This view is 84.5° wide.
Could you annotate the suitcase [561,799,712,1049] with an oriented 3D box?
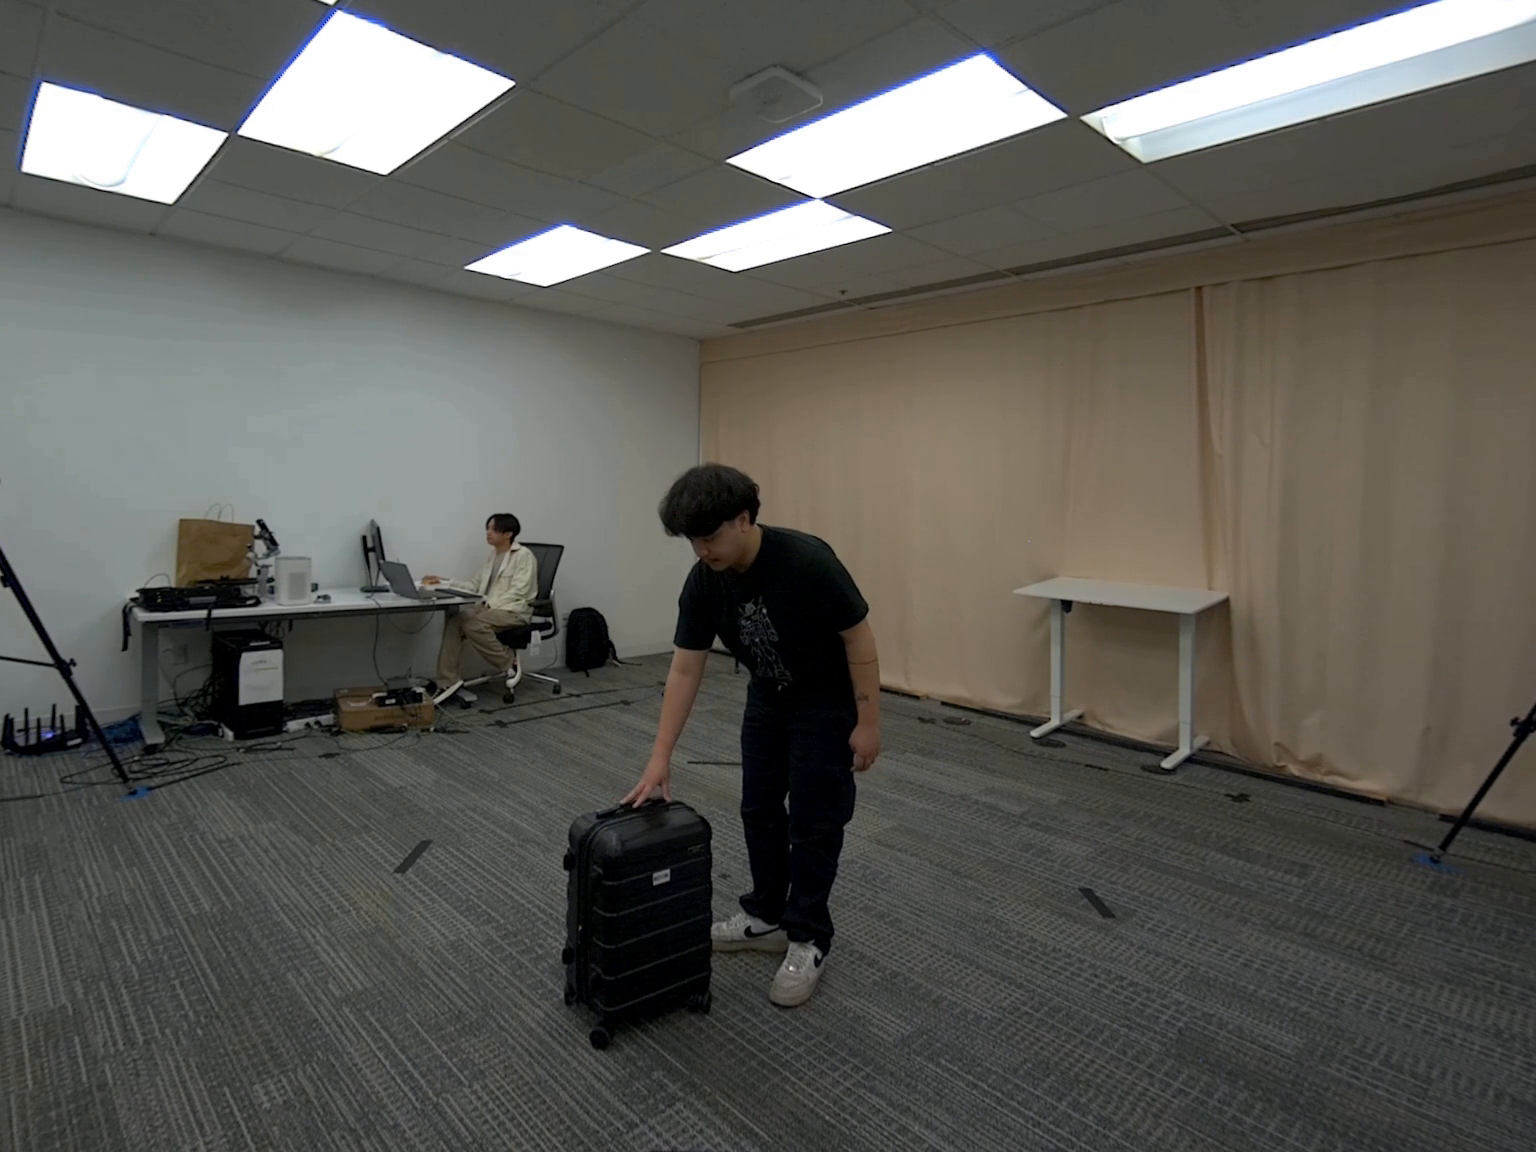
[{"bbox_3d":[-0.349,0.905,2.276,0.367,0.548,0.254,-1,4,-37],"label":"suitcase"}]
